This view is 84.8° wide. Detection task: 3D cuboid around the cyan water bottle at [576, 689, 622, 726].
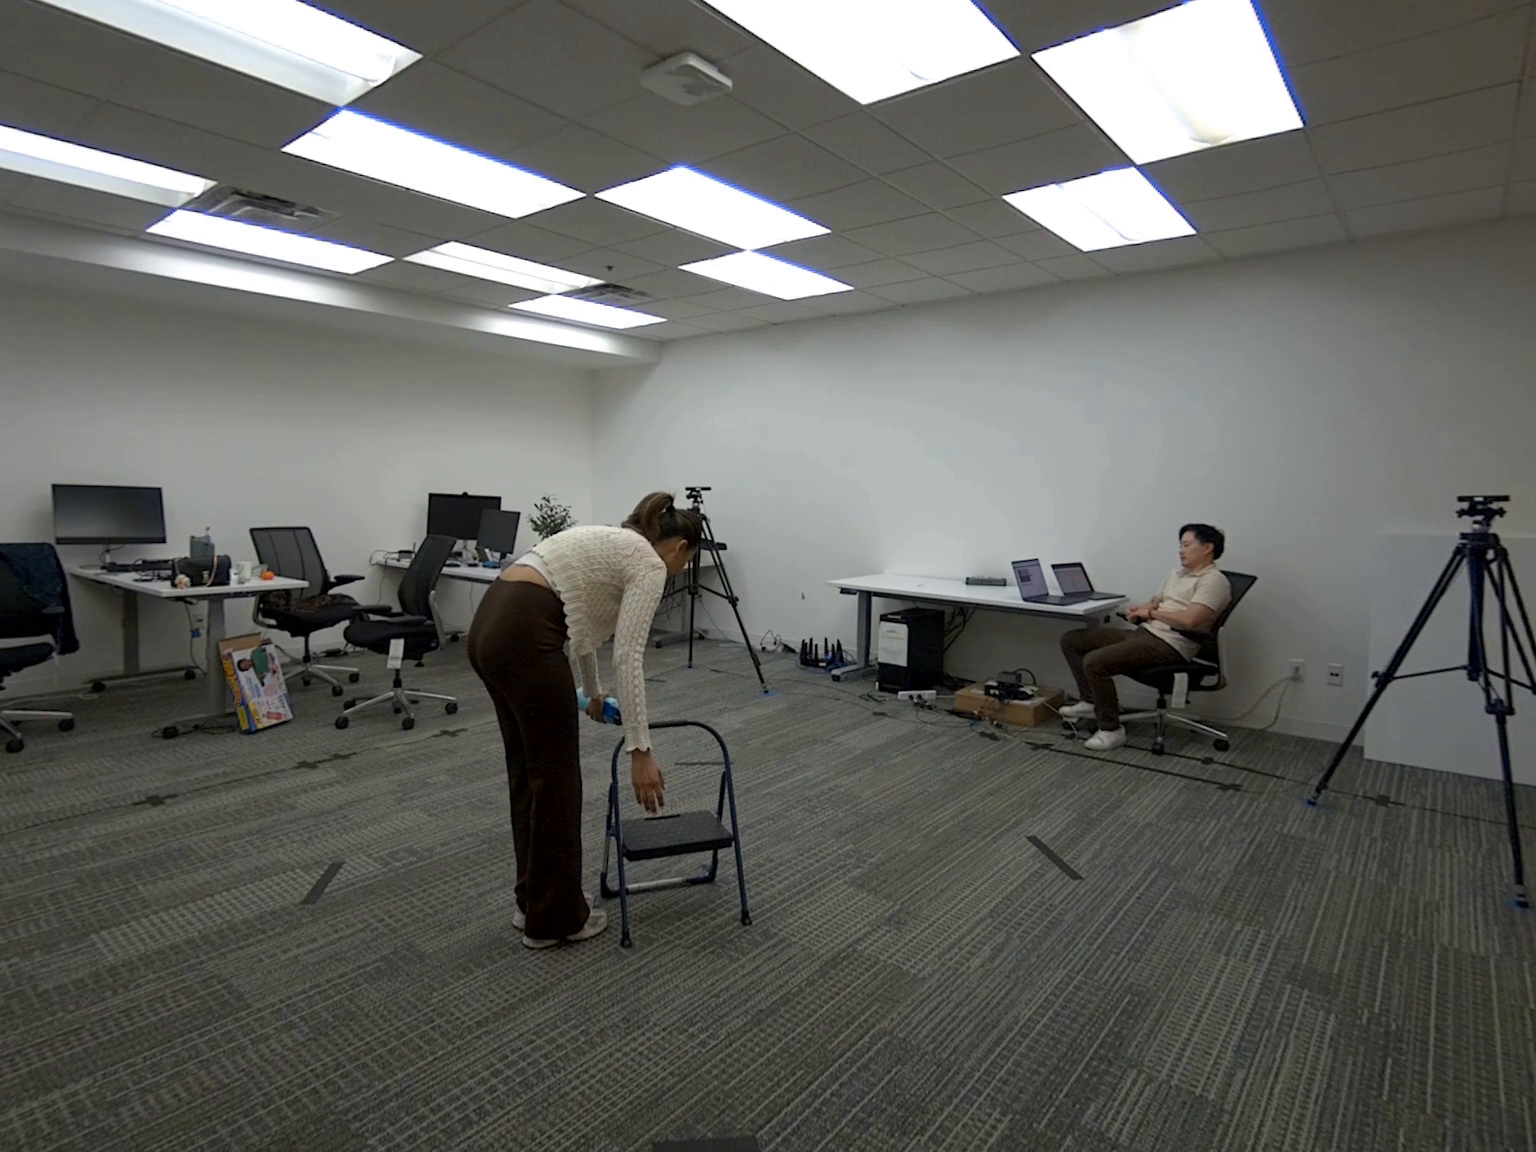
[{"bbox_3d":[-0.630,0.494,3.193,0.089,0.092,0.293,-3,8,-40],"label":"cyan water bottle"}]
